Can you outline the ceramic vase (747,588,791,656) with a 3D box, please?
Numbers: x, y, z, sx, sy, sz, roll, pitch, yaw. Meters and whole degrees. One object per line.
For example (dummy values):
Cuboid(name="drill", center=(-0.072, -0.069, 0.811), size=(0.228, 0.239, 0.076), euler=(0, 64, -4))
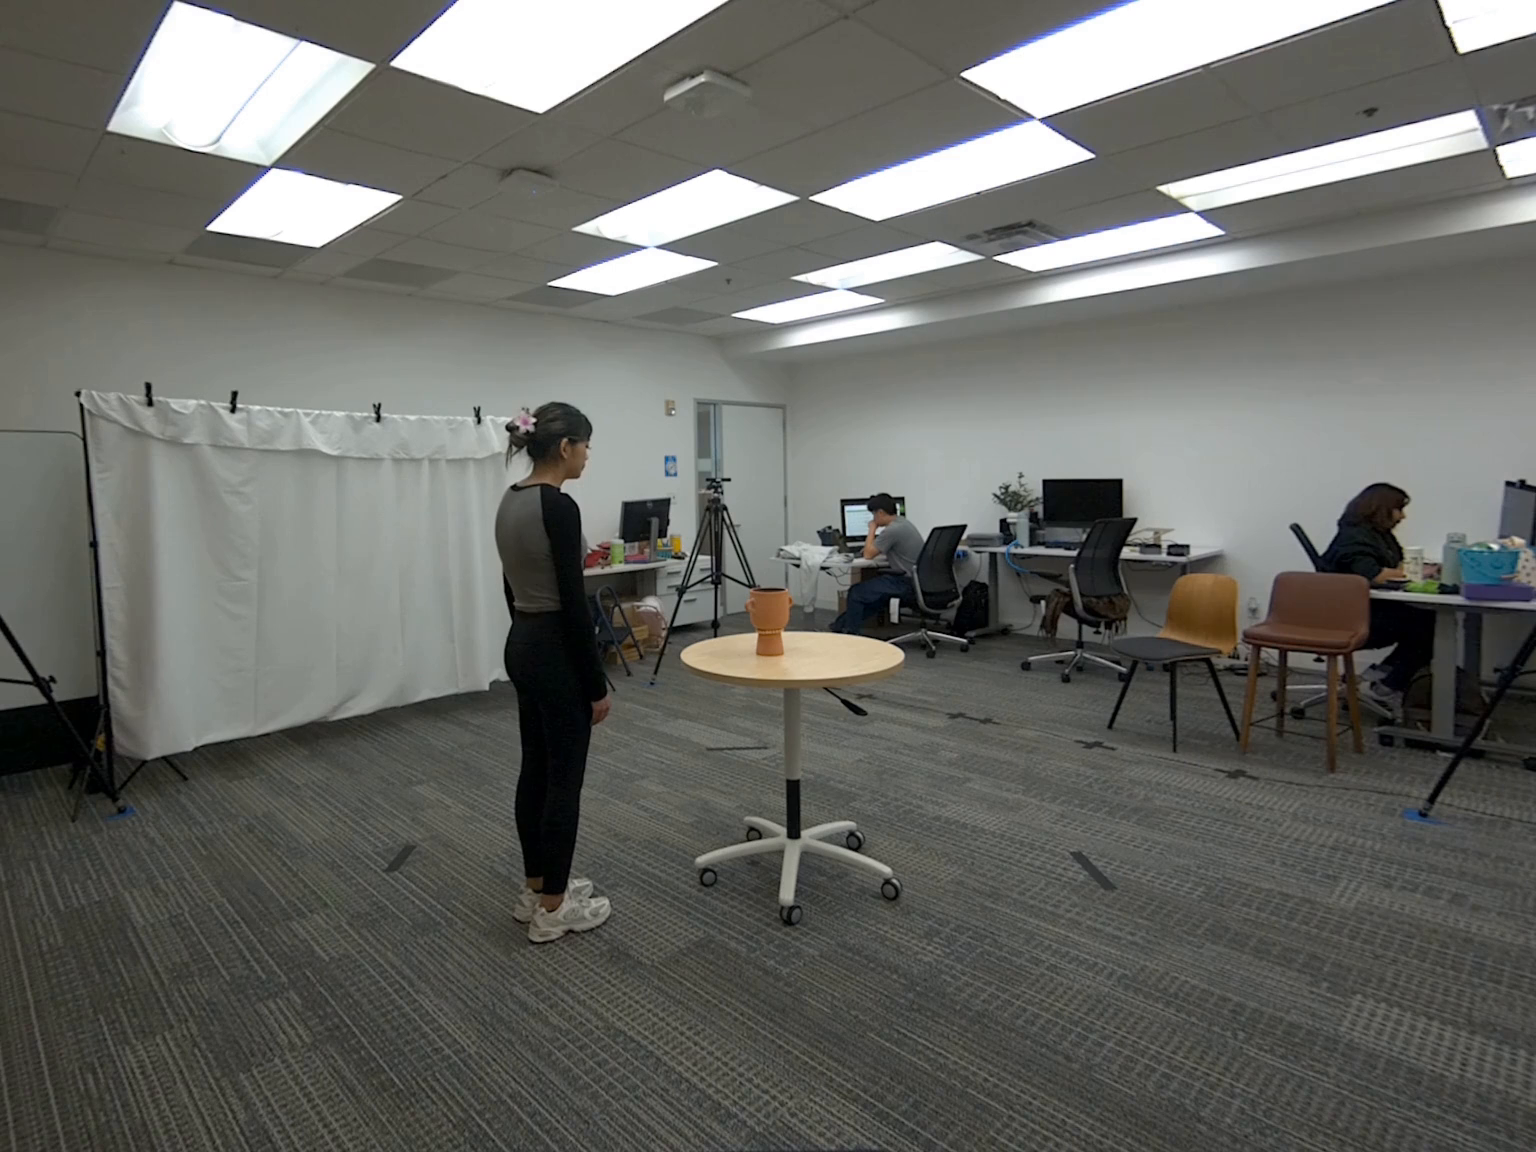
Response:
Cuboid(name="ceramic vase", center=(0.008, 0.157, 2.939), size=(0.160, 0.219, 0.134), euler=(0, 4, 6))
